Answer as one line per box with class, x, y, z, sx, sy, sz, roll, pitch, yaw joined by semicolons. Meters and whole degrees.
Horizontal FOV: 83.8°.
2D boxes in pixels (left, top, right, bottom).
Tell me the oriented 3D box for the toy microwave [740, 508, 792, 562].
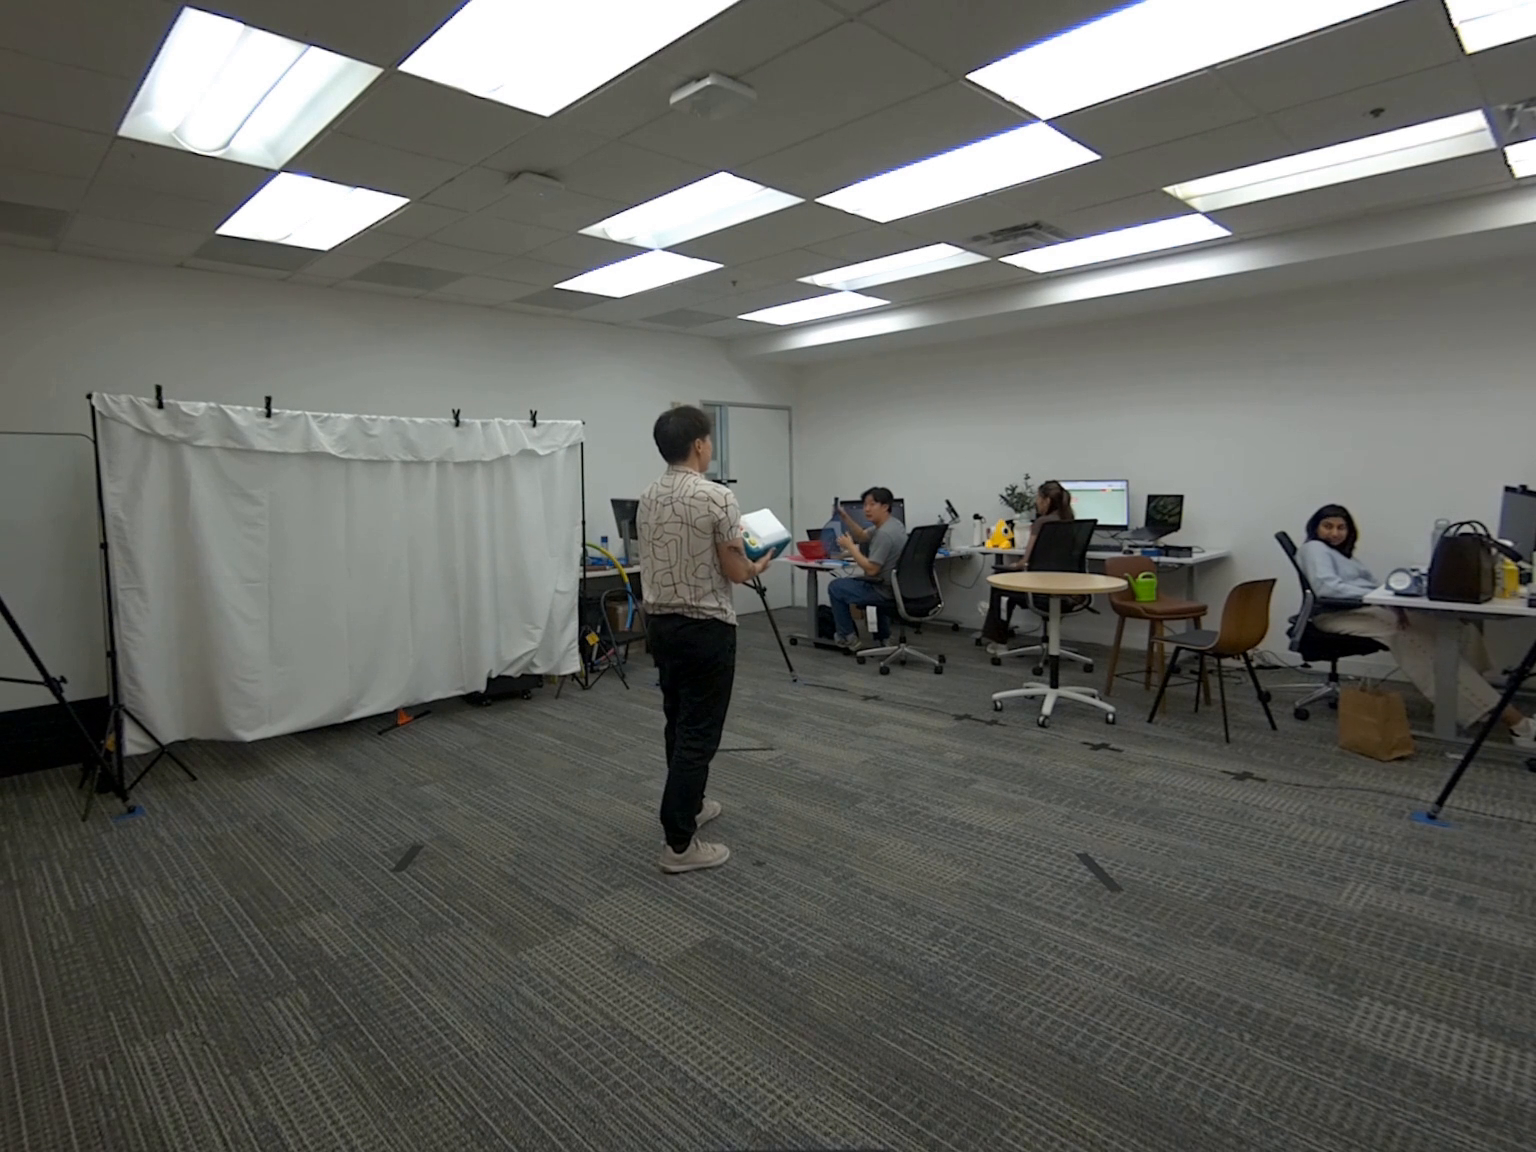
toy microwave;-0.060;-0.153;3.427;0.281;0.188;0.152;-22;-25;-50
